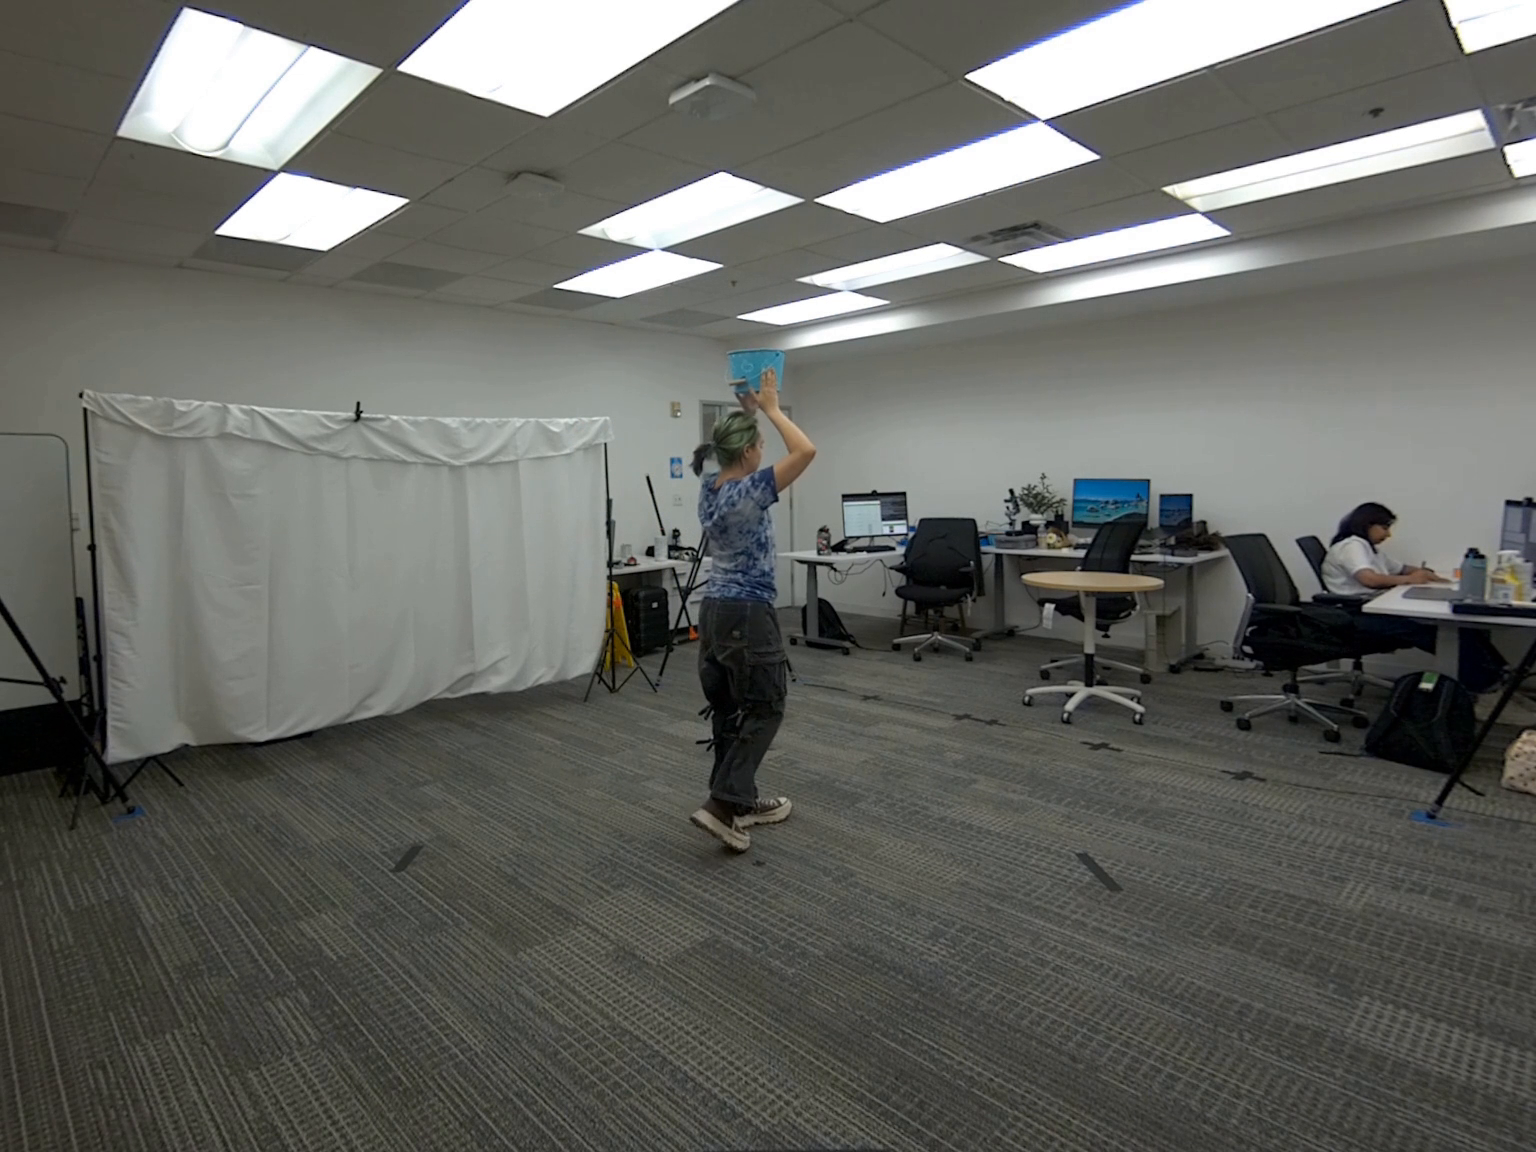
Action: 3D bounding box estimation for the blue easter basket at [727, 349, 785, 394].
[{"bbox_3d":[-0.049,-0.792,3.307,0.243,0.155,0.245,-2,8,-1],"label":"blue easter basket"}]
